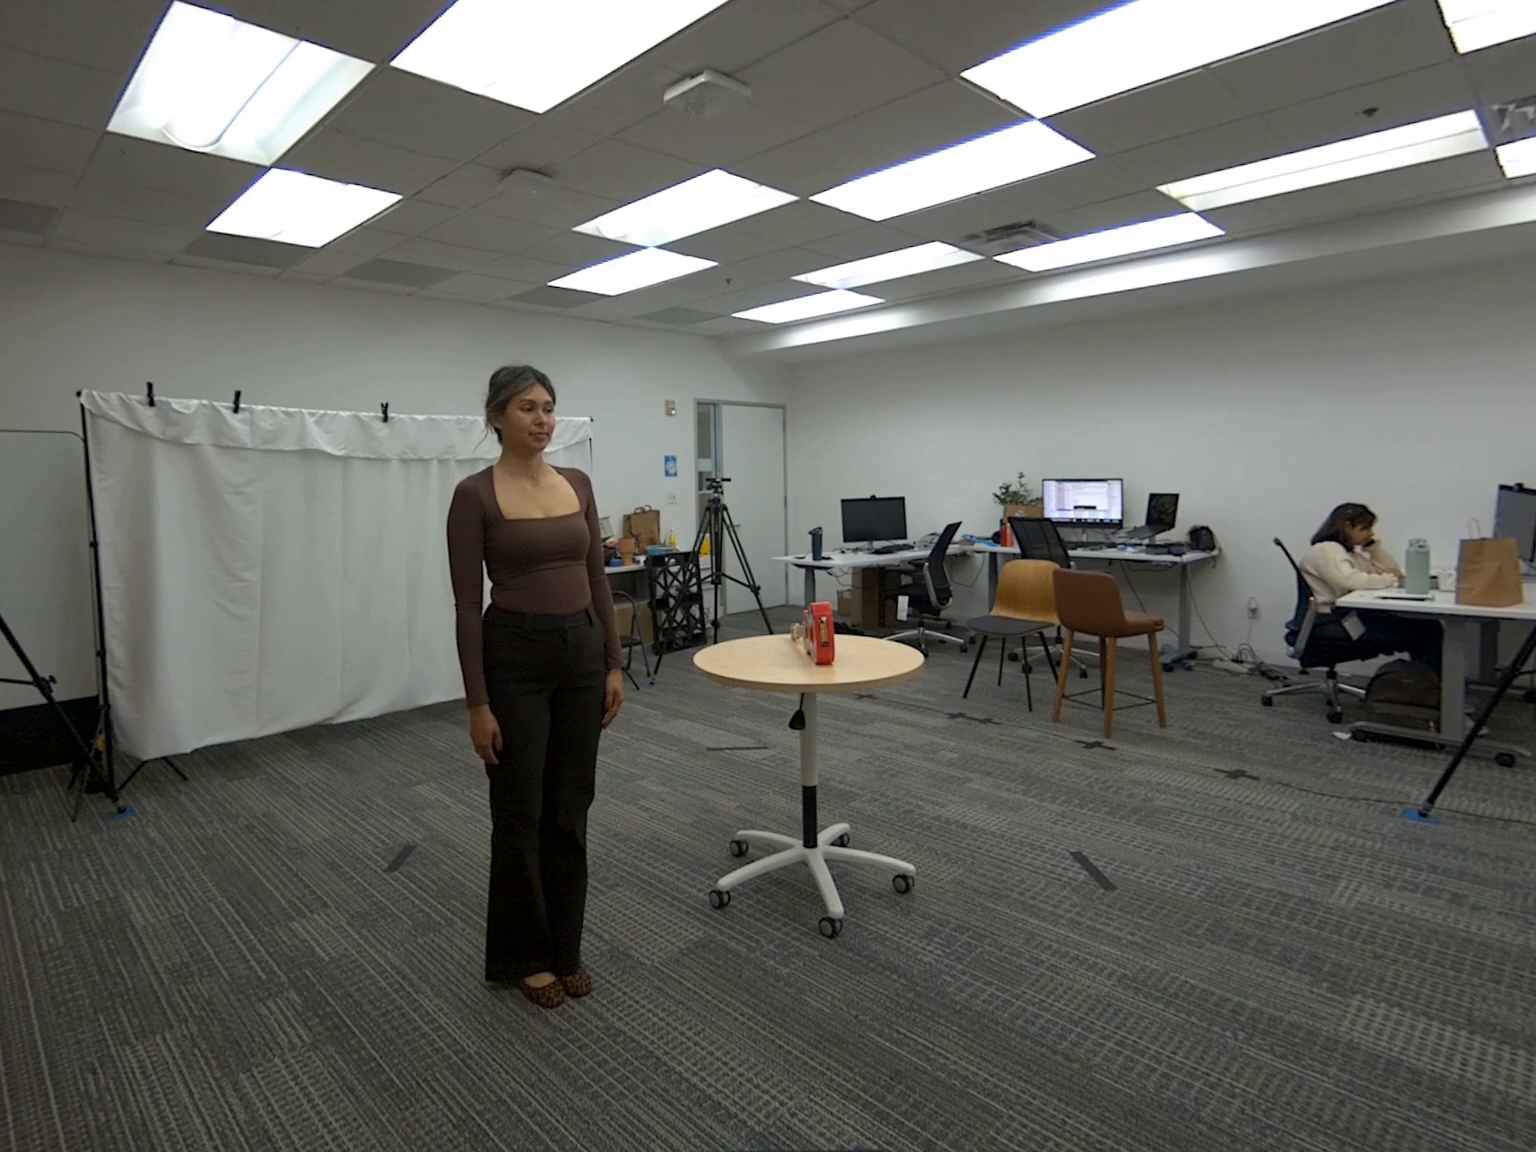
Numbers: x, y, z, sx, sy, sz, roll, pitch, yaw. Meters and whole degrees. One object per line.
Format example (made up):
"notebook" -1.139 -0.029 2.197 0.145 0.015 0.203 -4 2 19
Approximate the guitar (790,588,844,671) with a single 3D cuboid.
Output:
"guitar" 0.158 0.170 2.938 0.070 0.192 0.503 -4 6 -8
